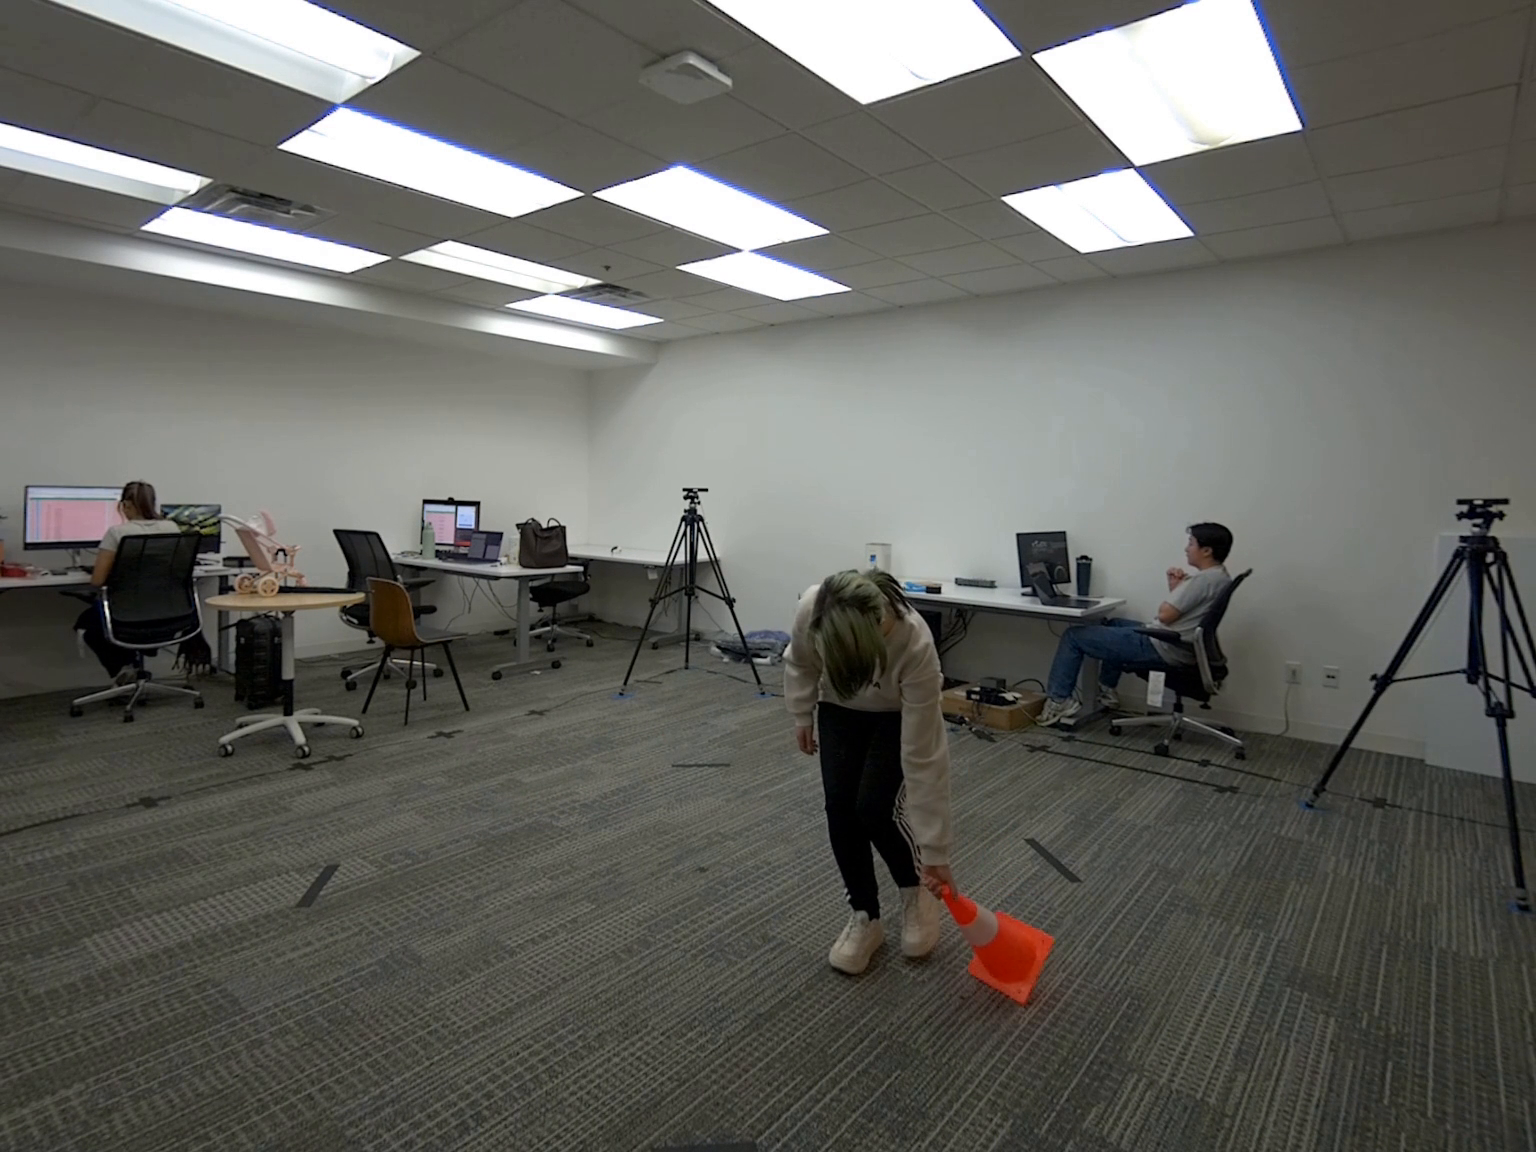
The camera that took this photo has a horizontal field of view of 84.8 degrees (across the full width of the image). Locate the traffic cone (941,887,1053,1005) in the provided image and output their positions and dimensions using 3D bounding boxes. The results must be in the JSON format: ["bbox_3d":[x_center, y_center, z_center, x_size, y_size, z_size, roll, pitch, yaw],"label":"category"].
[{"bbox_3d":[0.581,0.960,2.344,0.371,0.203,0.212,46,-16,-27],"label":"traffic cone"}]
